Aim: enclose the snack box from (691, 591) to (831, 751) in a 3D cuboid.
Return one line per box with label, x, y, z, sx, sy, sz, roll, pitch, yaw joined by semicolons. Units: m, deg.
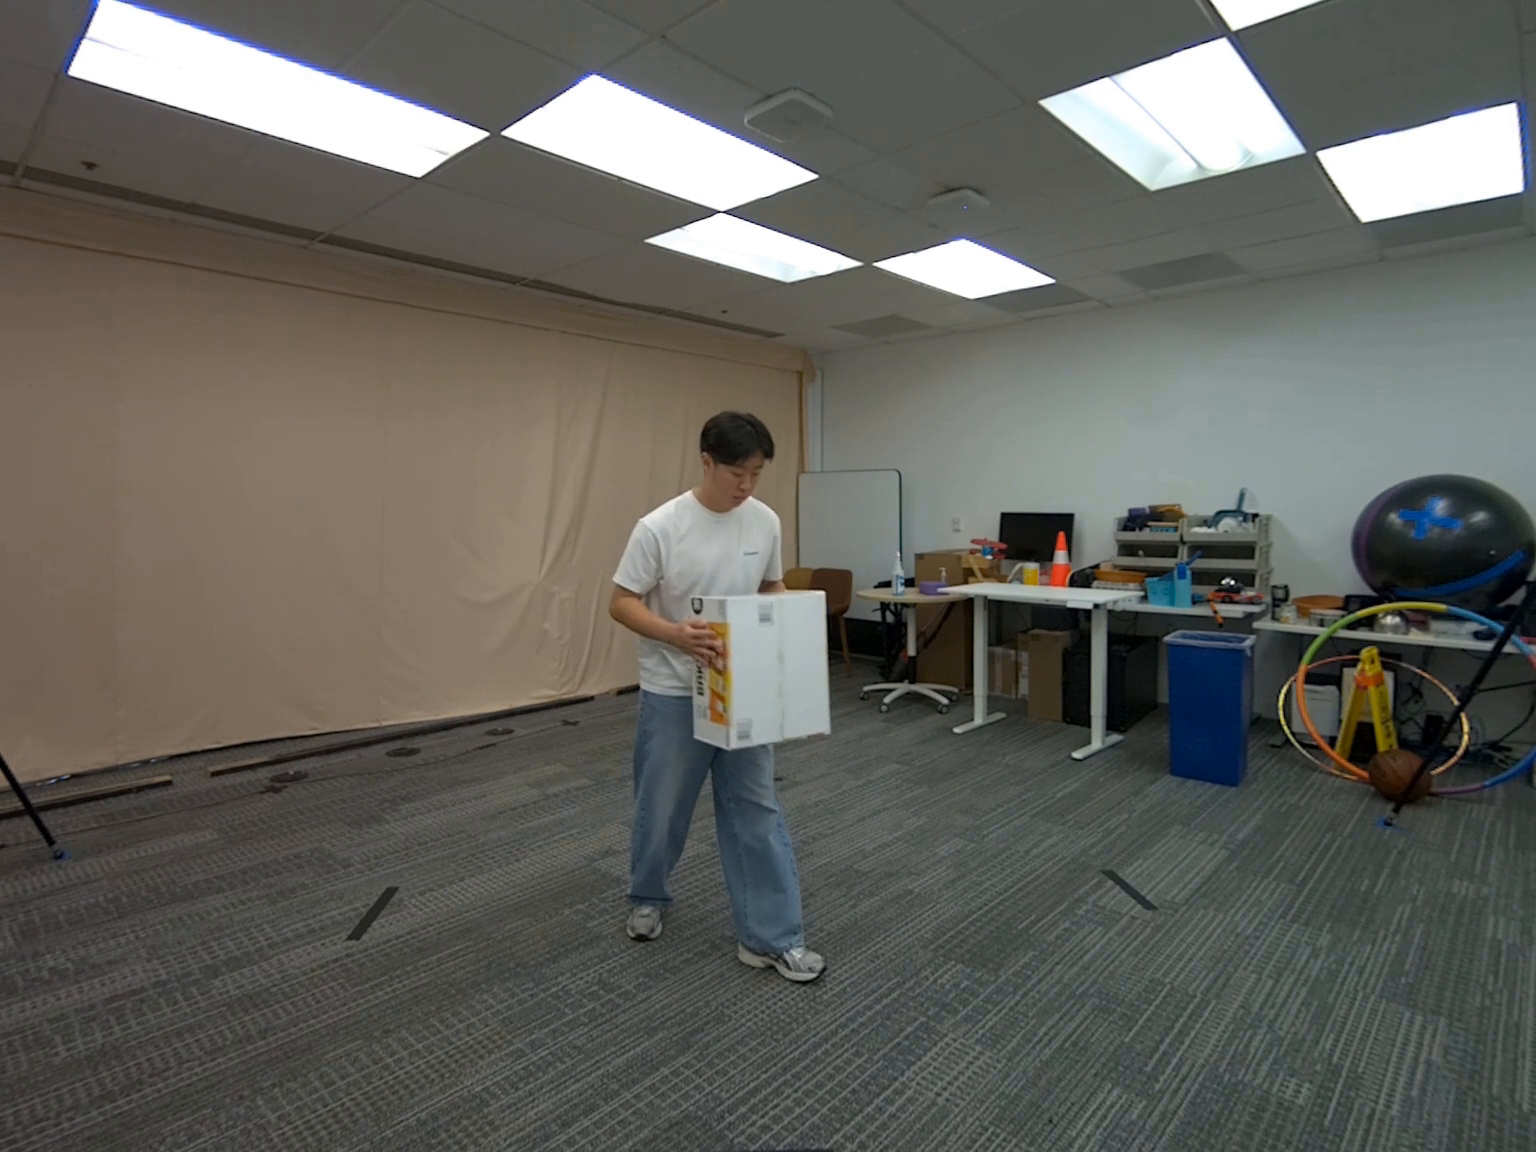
snack box;-0.014;0.270;2.403;0.331;0.405;0.211;-2;-1;-32
